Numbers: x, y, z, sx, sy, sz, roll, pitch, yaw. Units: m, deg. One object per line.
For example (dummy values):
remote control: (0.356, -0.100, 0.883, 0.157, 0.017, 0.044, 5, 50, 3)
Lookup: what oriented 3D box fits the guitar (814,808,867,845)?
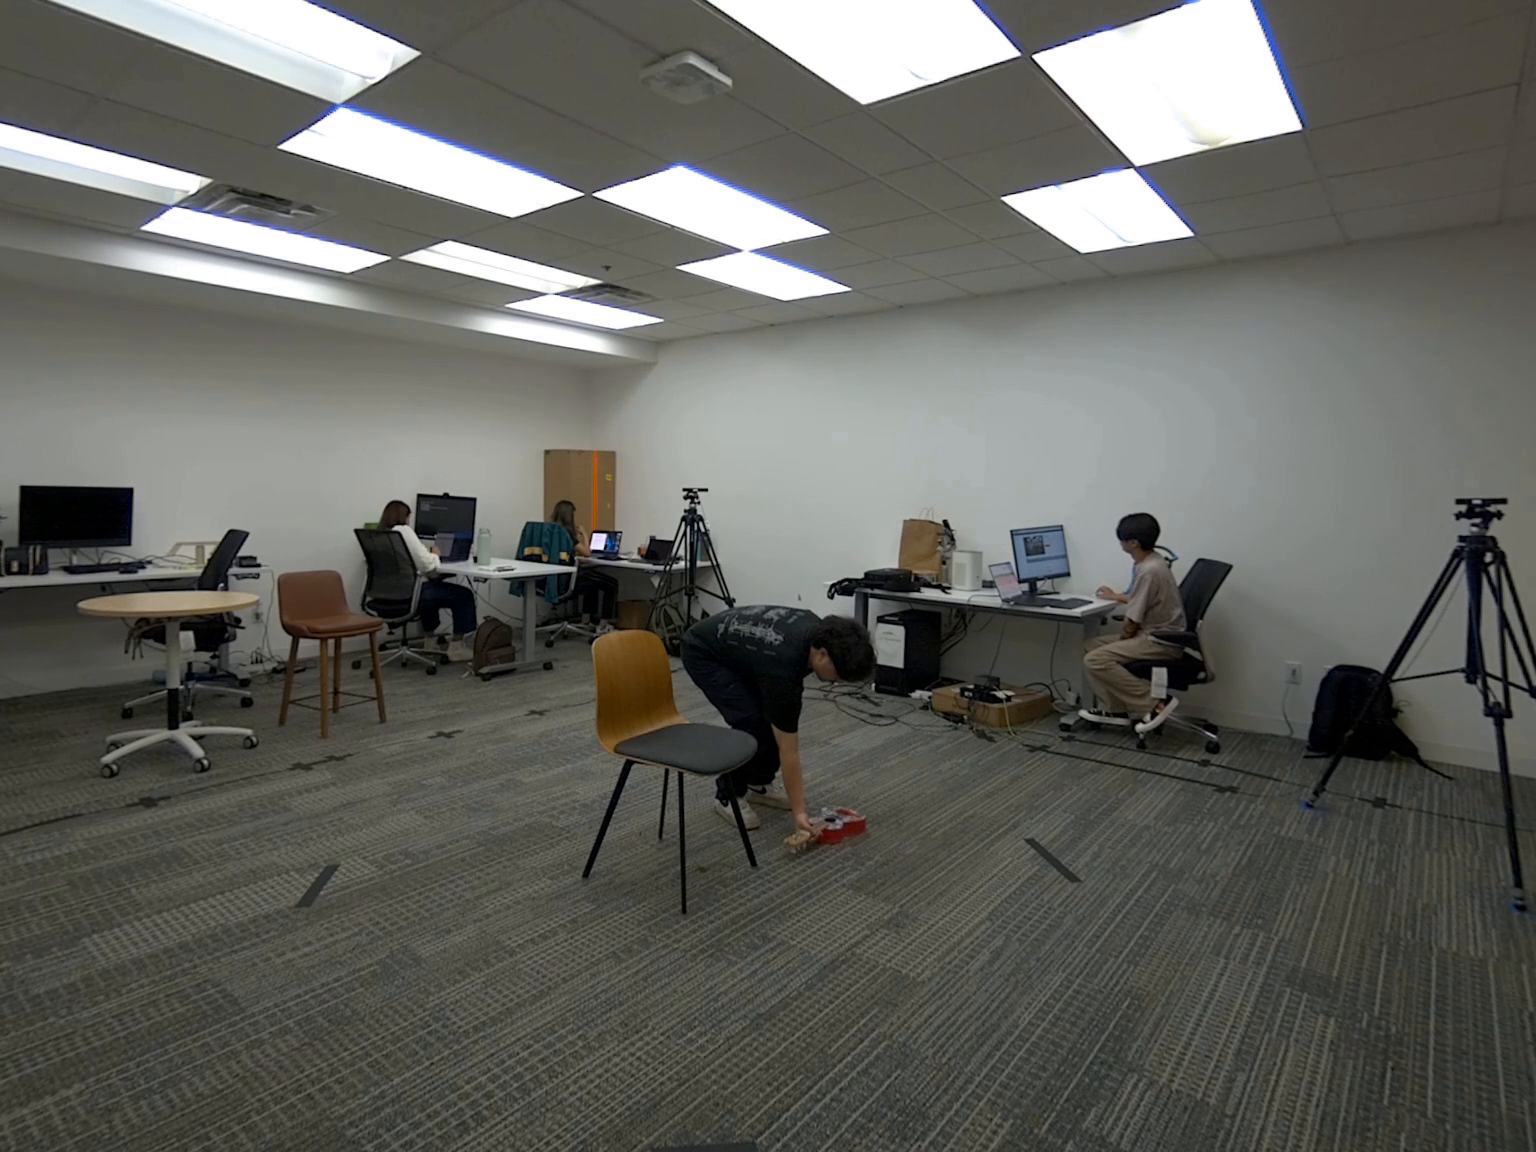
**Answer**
guitar: (0.182, 1.010, 3.408, 0.200, 0.070, 0.482, 9, 8, 44)
